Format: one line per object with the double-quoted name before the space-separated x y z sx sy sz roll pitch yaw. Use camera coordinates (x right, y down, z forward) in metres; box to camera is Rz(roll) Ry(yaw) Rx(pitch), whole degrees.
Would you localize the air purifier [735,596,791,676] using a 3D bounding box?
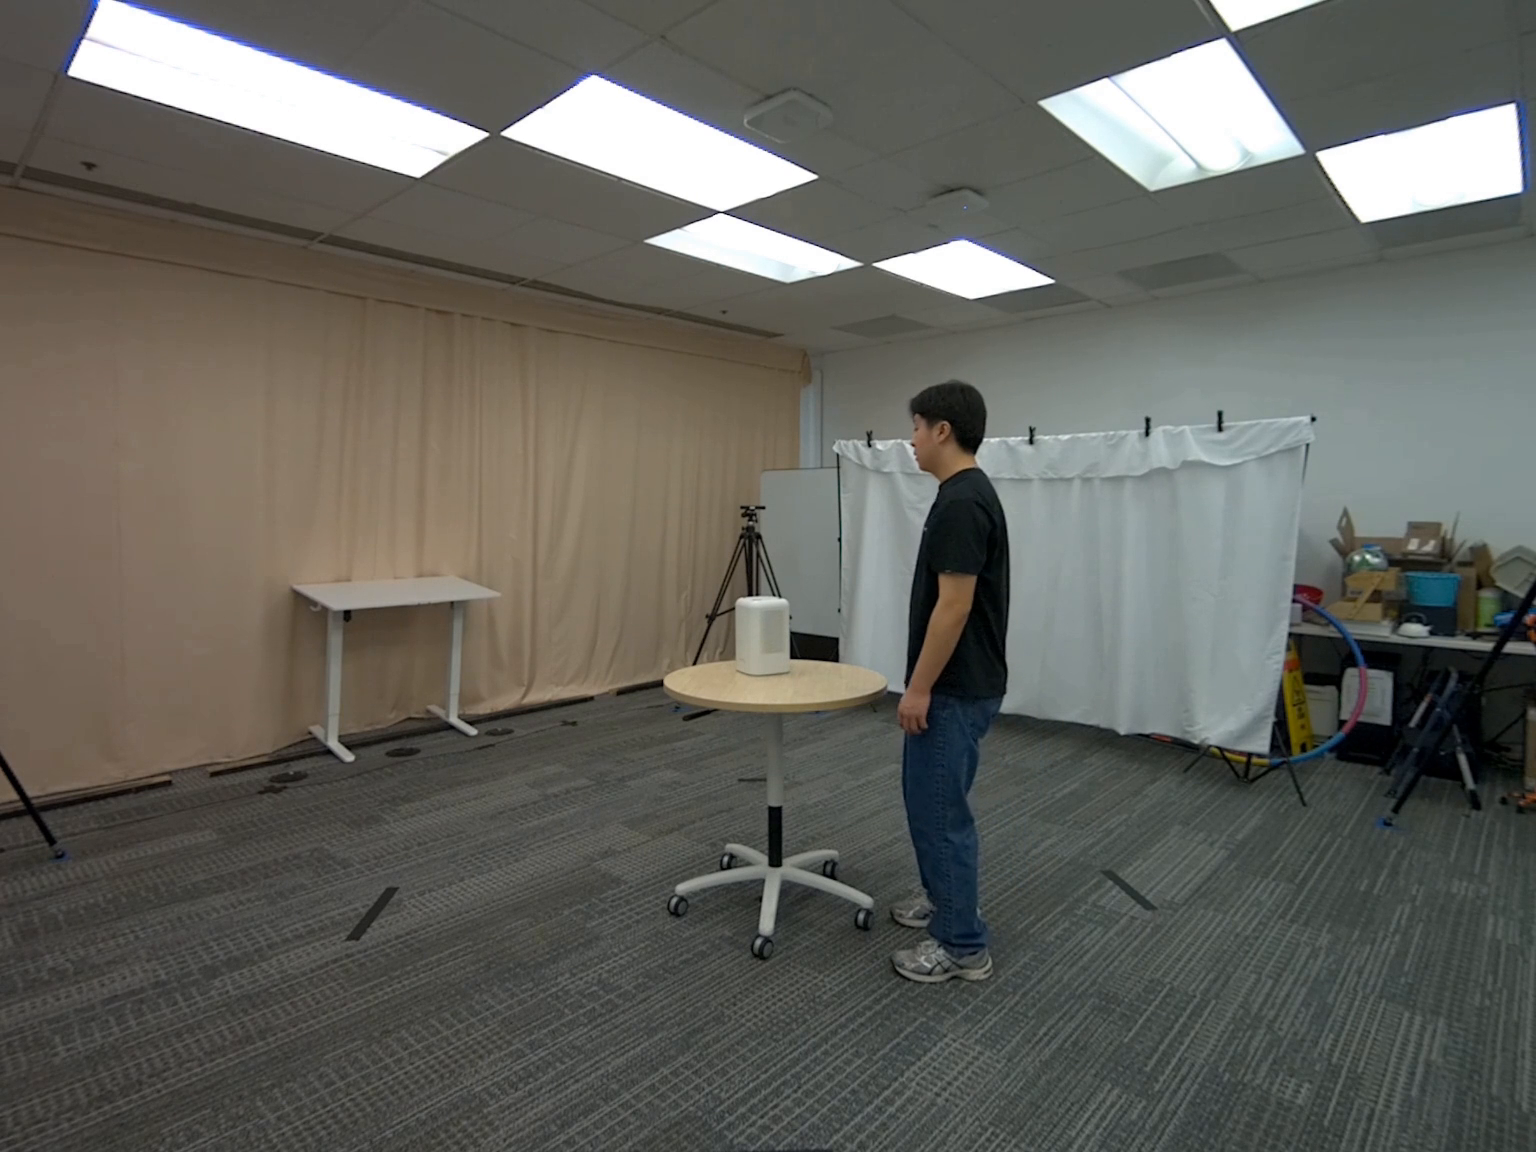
"air purifier" -0.016 0.210 3.035 0.167 0.265 0.176 0 3 -27
